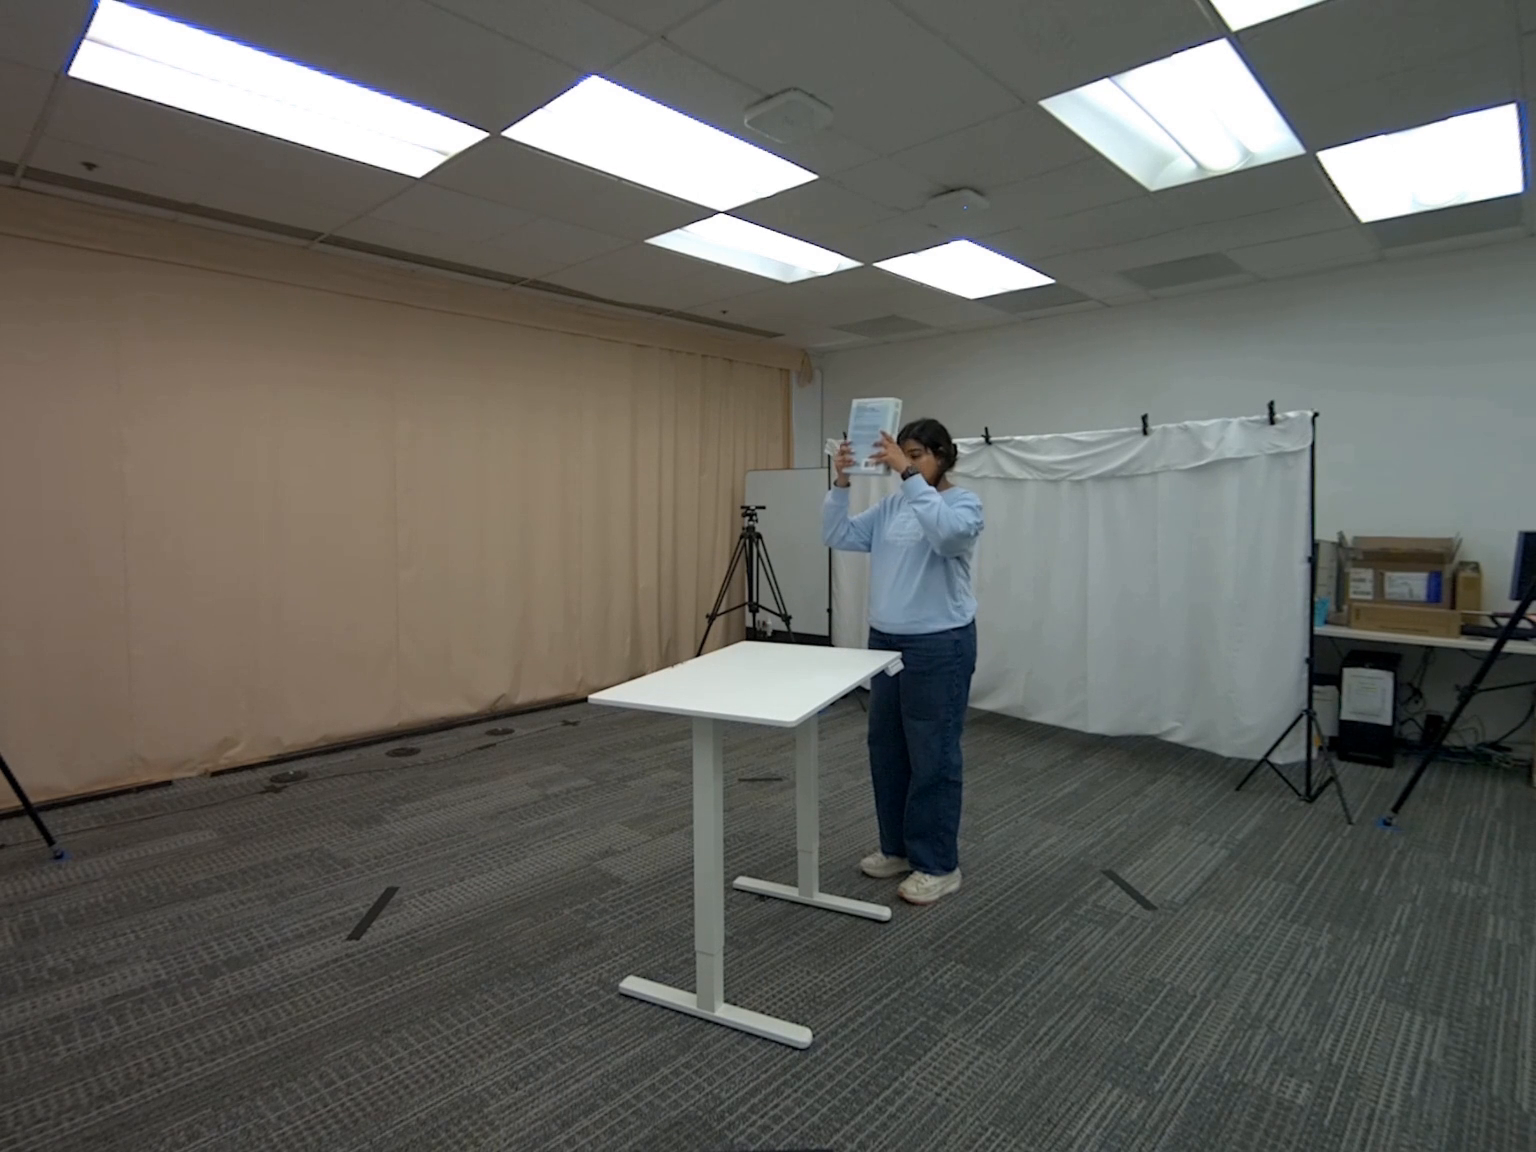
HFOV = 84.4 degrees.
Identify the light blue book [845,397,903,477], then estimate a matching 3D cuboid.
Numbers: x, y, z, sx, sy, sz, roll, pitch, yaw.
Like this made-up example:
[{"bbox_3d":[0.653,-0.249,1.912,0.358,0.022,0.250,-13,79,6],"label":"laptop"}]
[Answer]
[{"bbox_3d":[0.372,-0.482,2.934,0.057,0.261,0.198,5,3,-36],"label":"light blue book"}]
